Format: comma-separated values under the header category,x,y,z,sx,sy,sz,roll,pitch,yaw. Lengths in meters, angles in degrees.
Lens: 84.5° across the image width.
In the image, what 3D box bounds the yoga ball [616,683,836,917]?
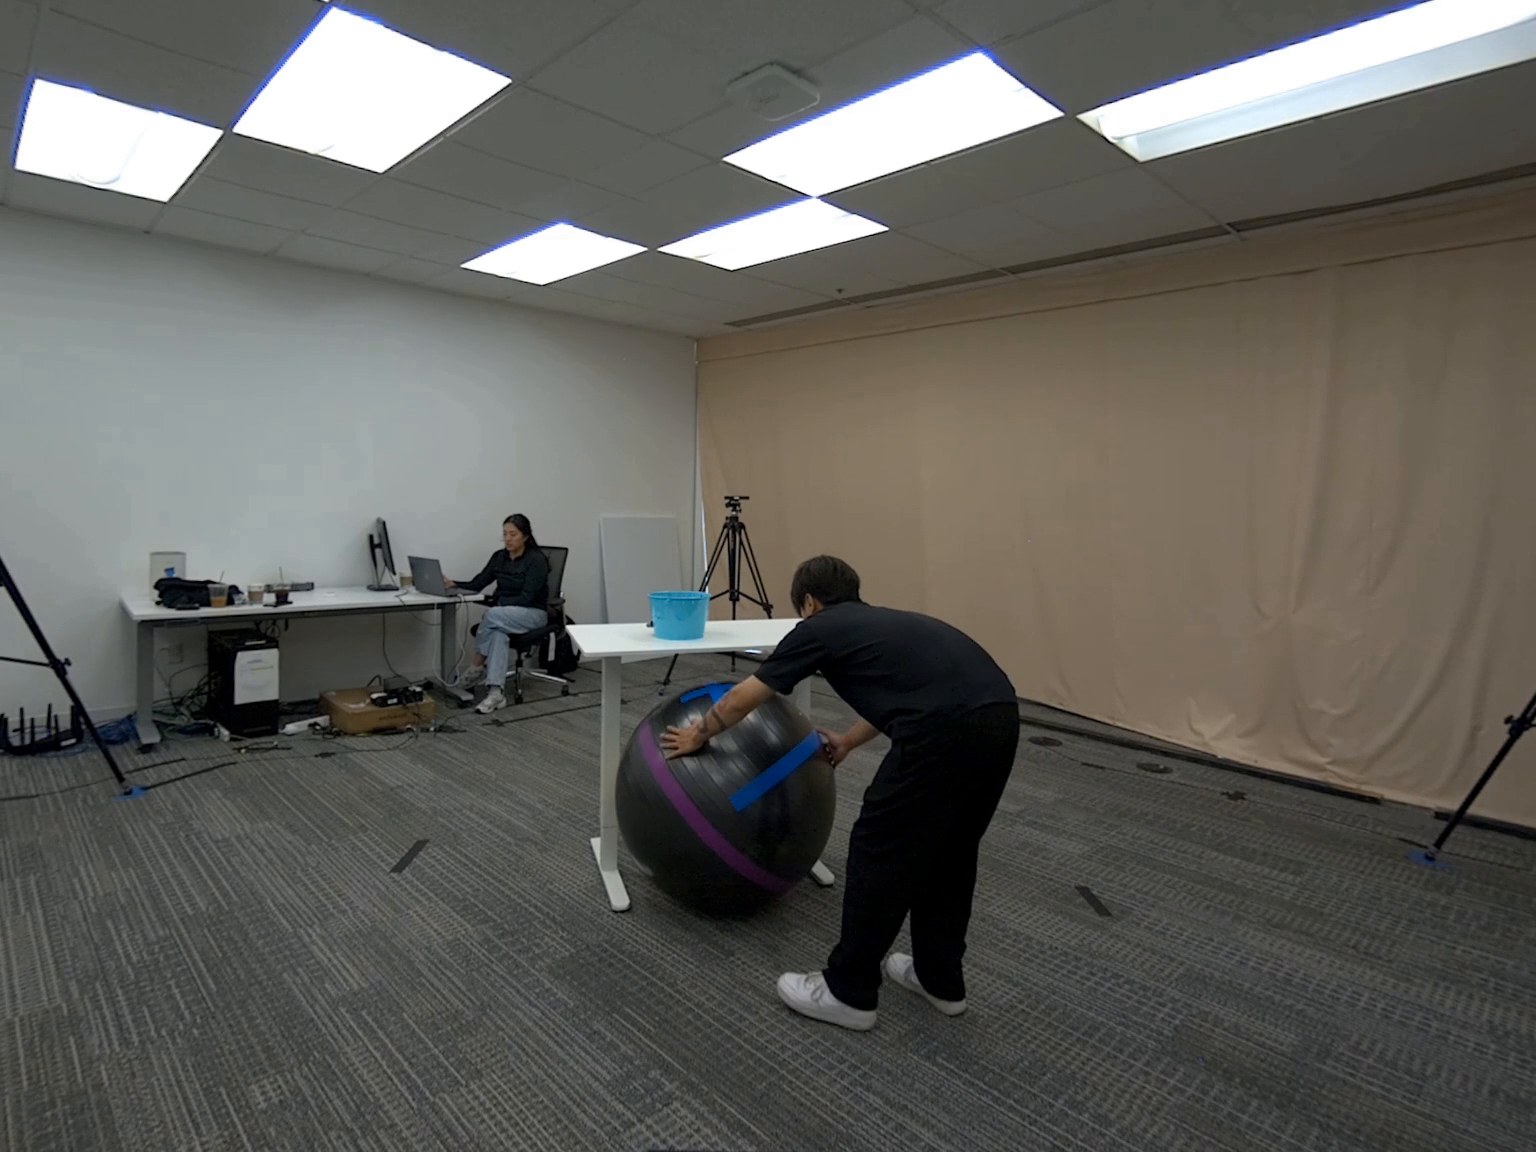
category,x,y,z,sx,sy,sz,roll,pitch,yaw
yoga ball,-0.151,0.757,2.918,0.757,0.756,0.761,1,4,-1
